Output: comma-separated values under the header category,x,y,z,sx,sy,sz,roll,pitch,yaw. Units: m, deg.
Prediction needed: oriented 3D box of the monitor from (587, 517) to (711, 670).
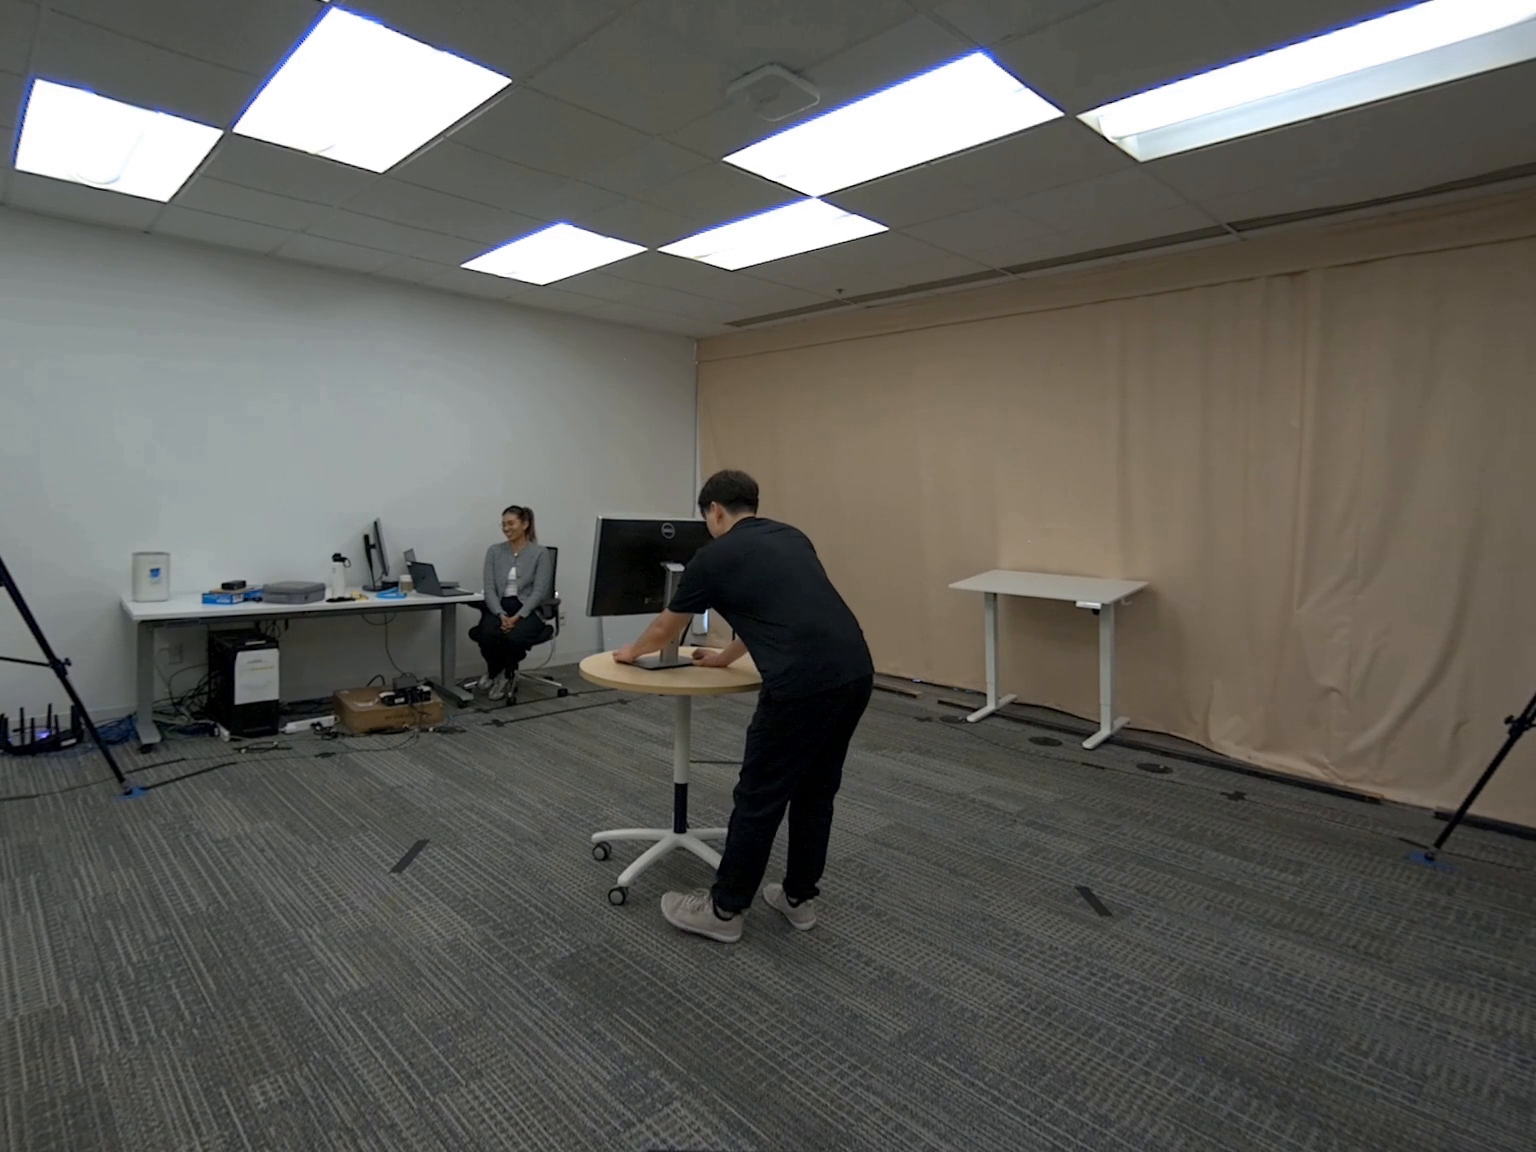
category,x,y,z,sx,sy,sz,roll,pitch,yaw
monitor,-0.390,0.056,3.111,0.526,0.522,0.192,-1,2,-45
